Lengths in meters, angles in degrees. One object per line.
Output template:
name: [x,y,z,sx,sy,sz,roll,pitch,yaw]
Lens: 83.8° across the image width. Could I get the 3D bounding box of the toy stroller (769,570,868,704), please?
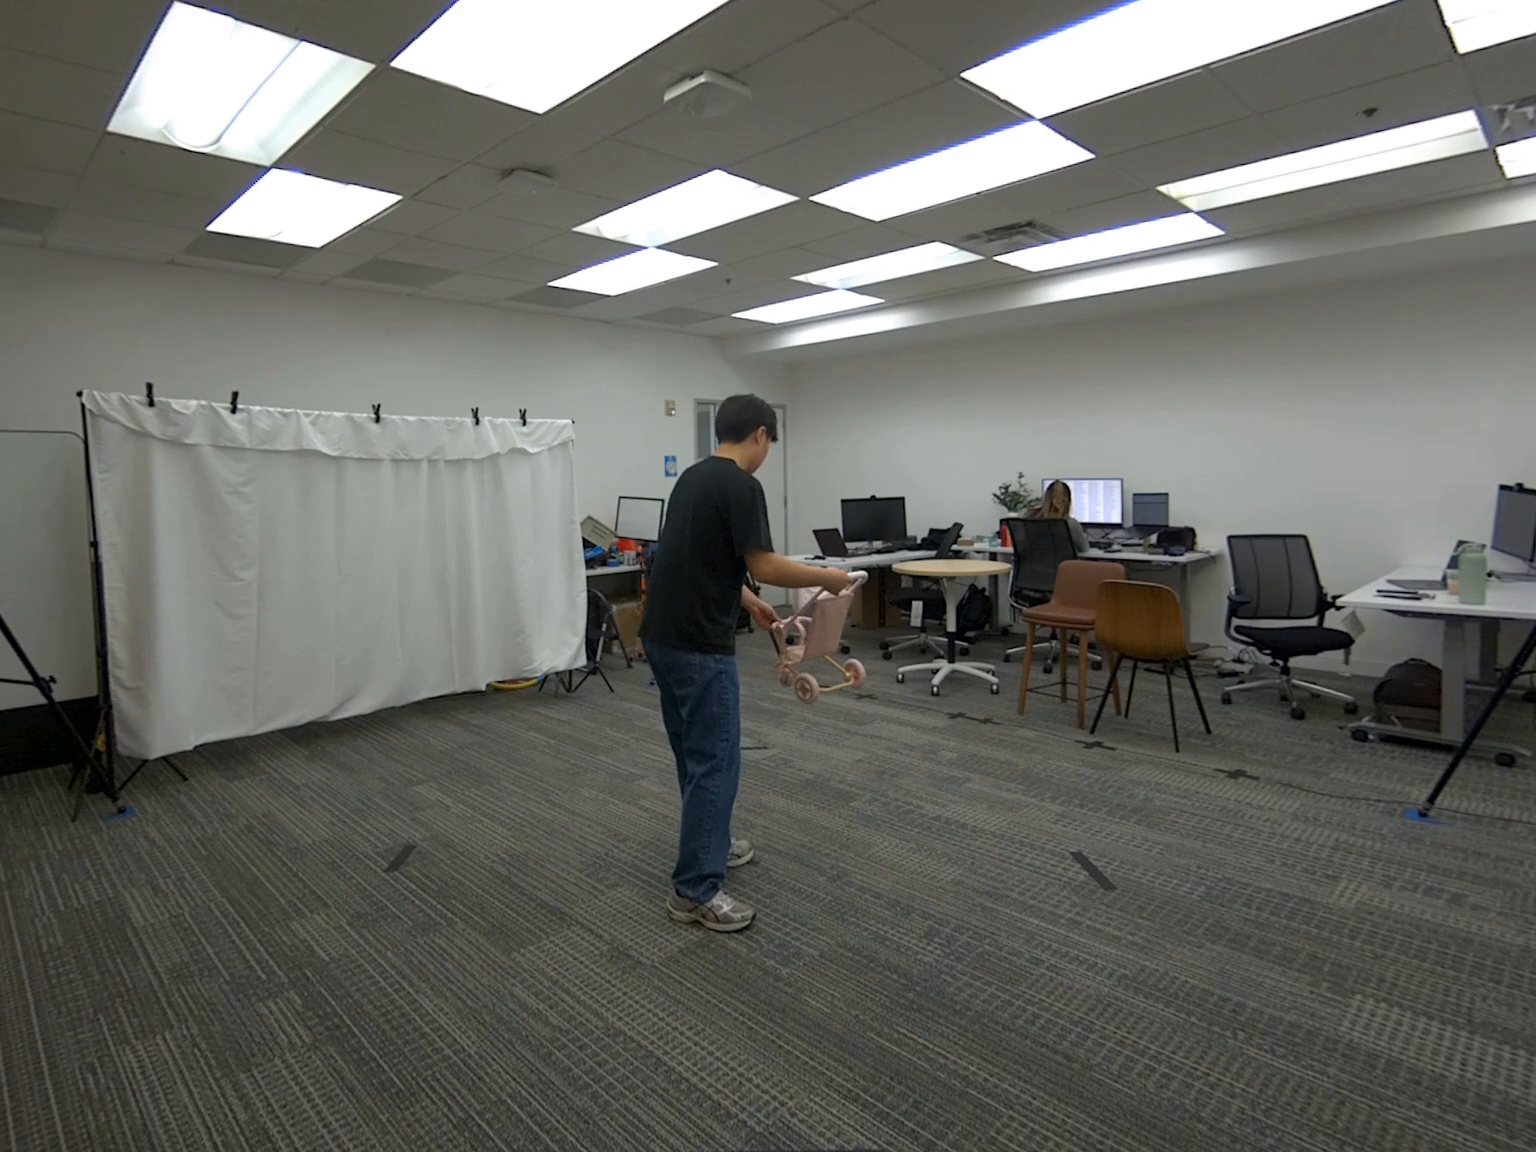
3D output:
toy stroller: [0.168,0.210,3.142,0.275,0.528,0.353,-9,18,-33]
